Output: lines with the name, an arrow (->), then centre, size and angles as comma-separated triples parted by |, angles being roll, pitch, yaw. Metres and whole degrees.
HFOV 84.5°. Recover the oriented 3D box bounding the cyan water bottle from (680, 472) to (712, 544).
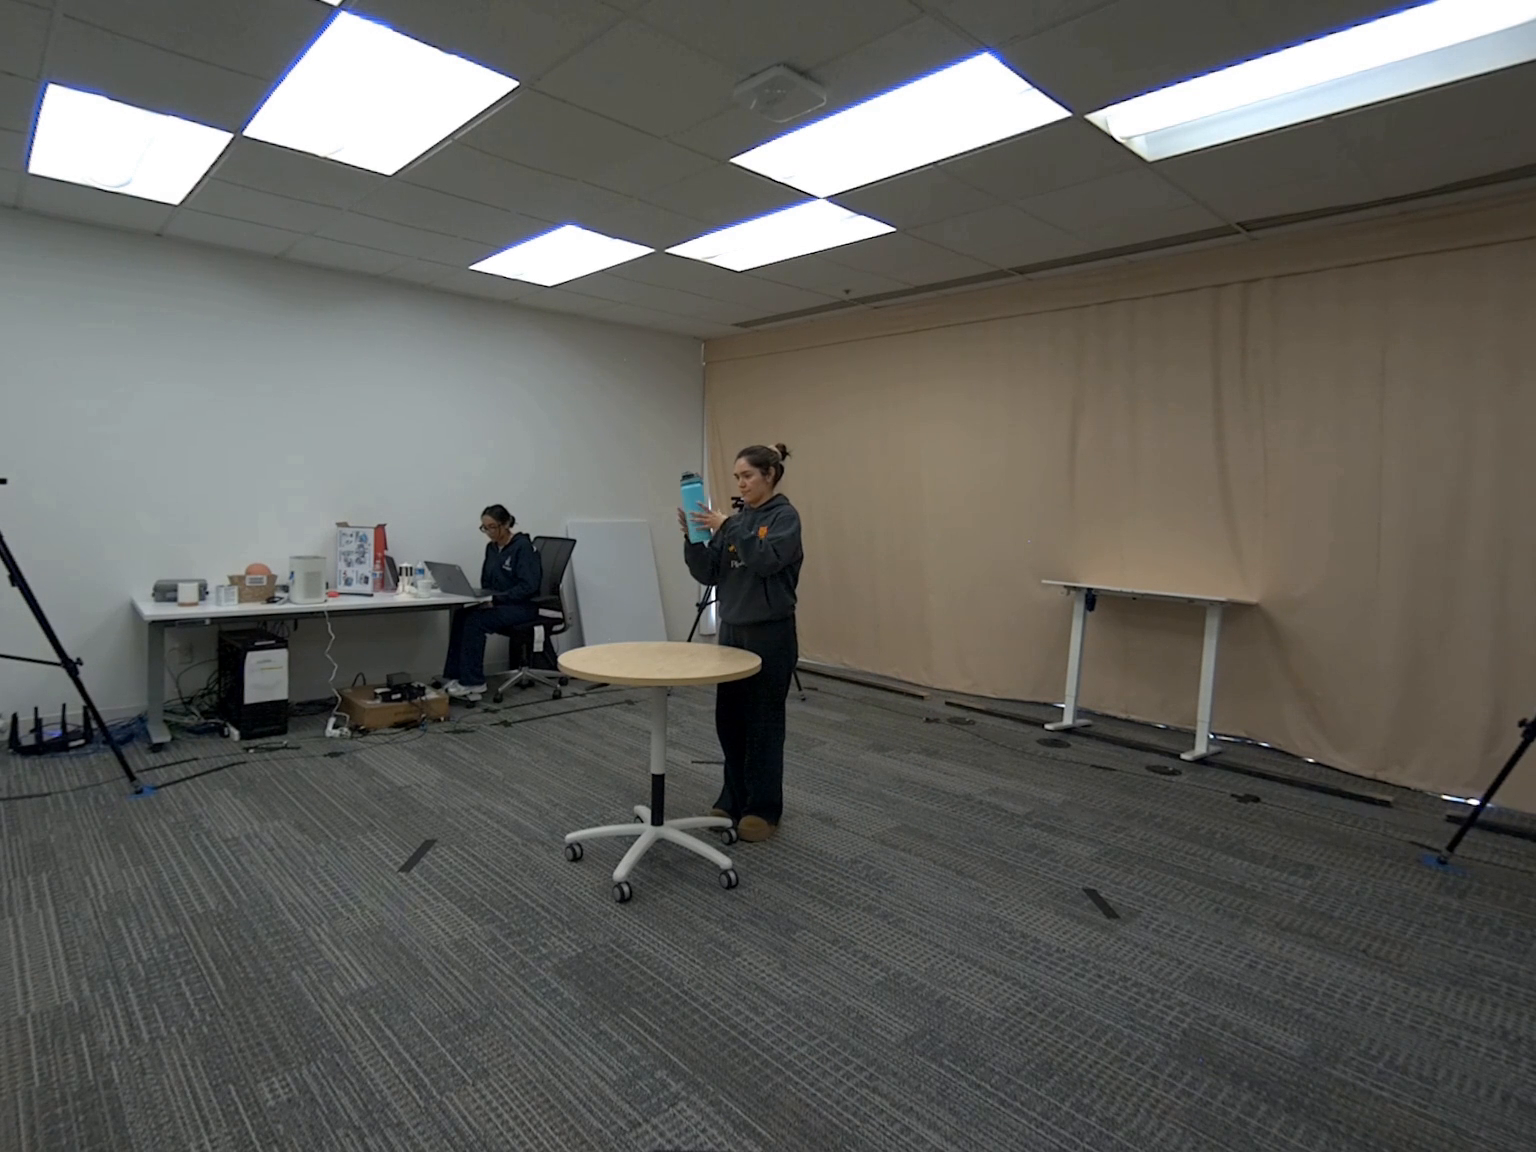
cyan water bottle -> -0.294, -0.248, 3.341 | 0.092, 0.282, 0.092 | -10, 3, -1
